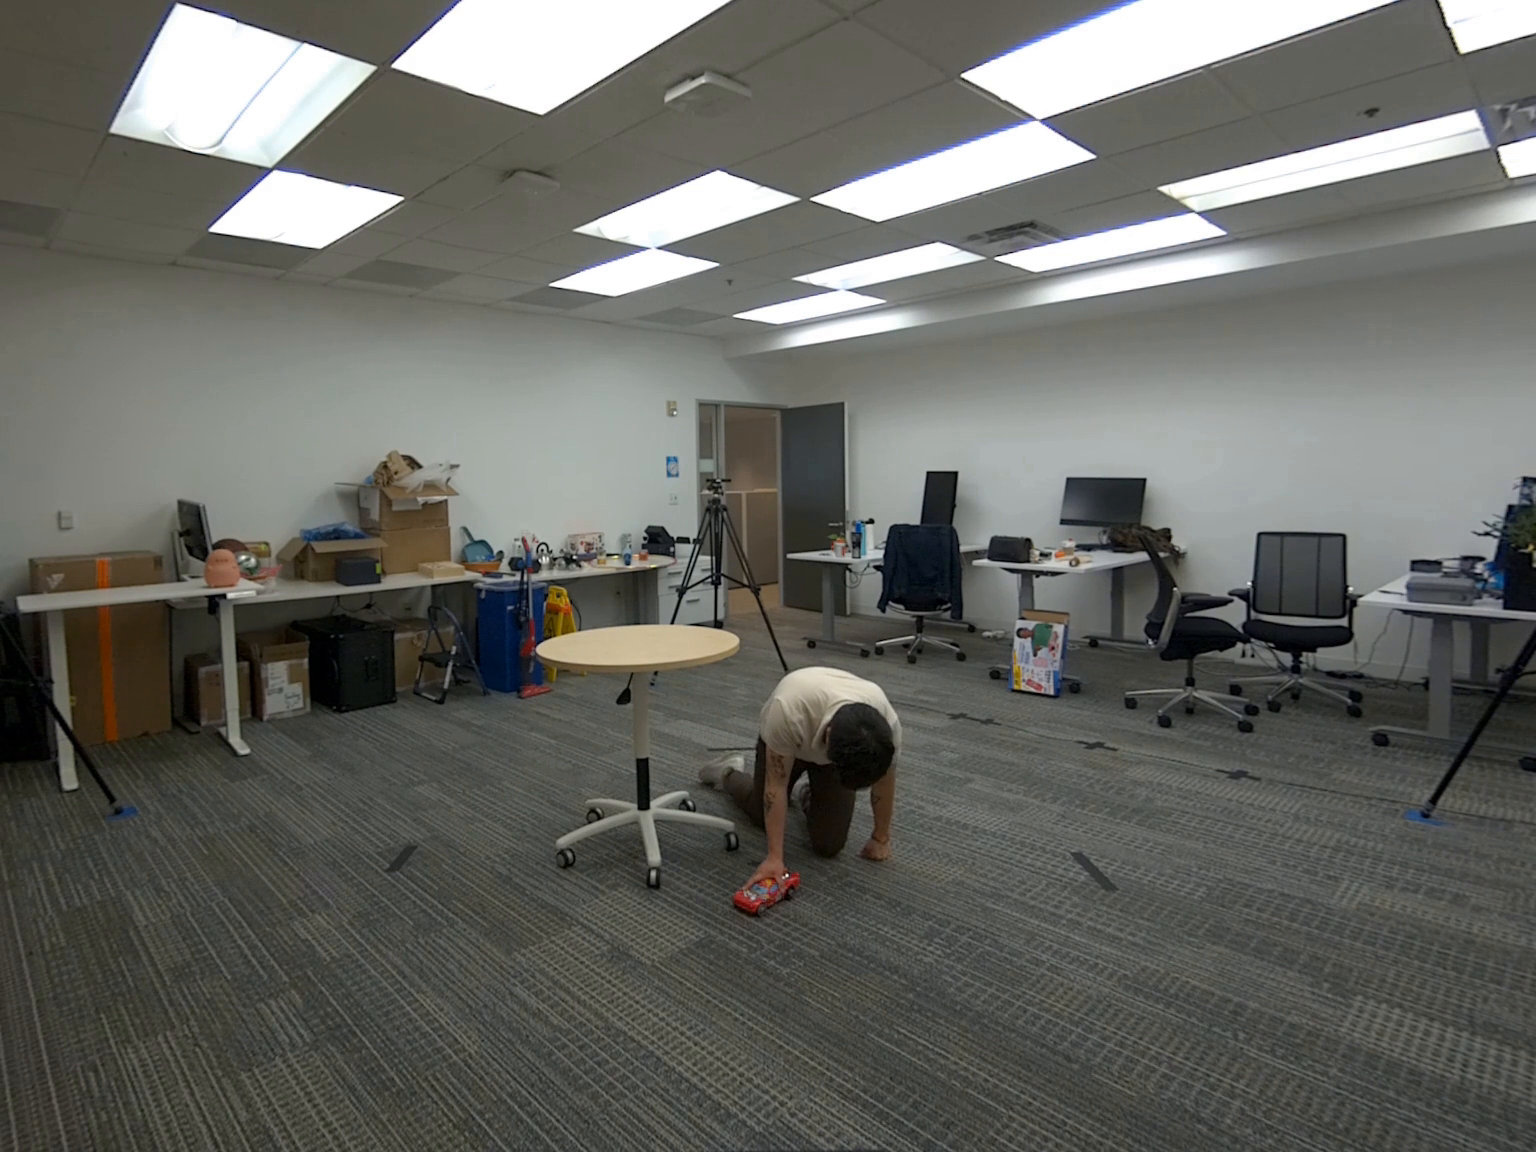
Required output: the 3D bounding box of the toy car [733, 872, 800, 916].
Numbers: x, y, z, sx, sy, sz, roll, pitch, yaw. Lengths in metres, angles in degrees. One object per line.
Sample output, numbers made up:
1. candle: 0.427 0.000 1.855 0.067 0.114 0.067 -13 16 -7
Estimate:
1. toy car: 0.005 1.045 2.832 0.134 0.082 0.250 3 17 42
